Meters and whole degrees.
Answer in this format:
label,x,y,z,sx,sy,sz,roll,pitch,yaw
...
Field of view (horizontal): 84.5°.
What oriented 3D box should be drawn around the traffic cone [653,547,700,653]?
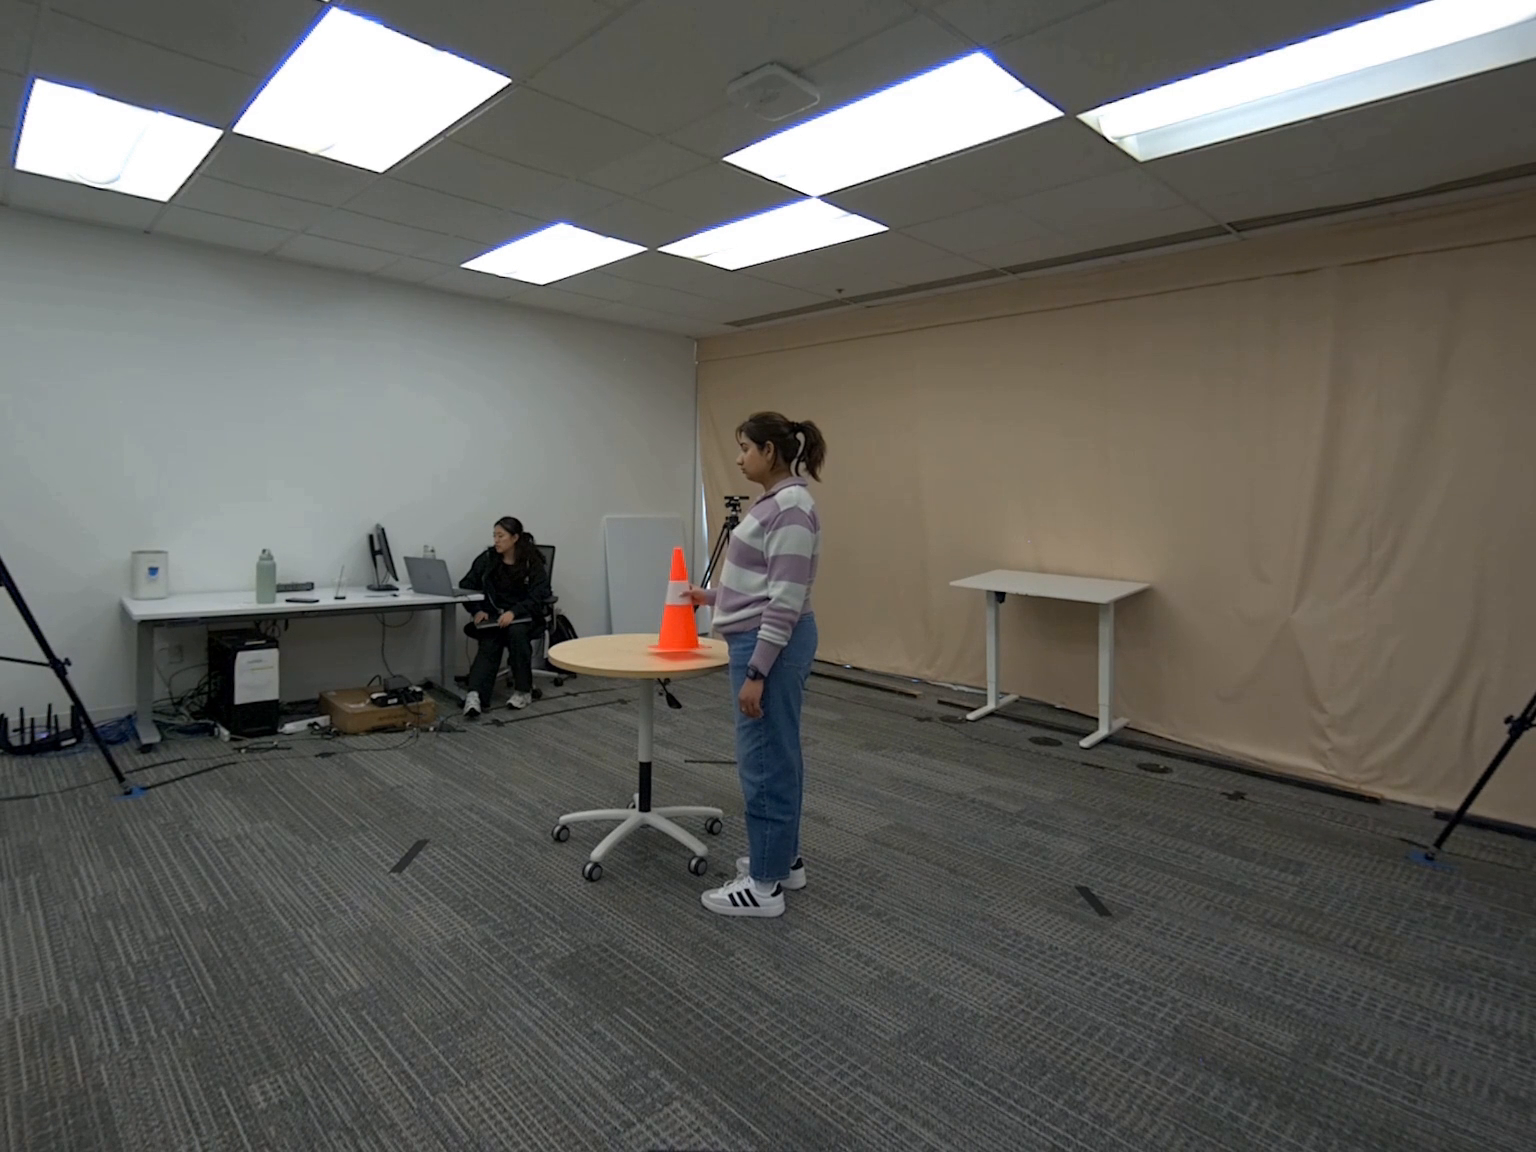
label,x,y,z,sx,sy,sz,roll,pitch,yaw
traffic cone,-0.348,0.087,3.224,0.200,0.383,0.208,0,2,-41
